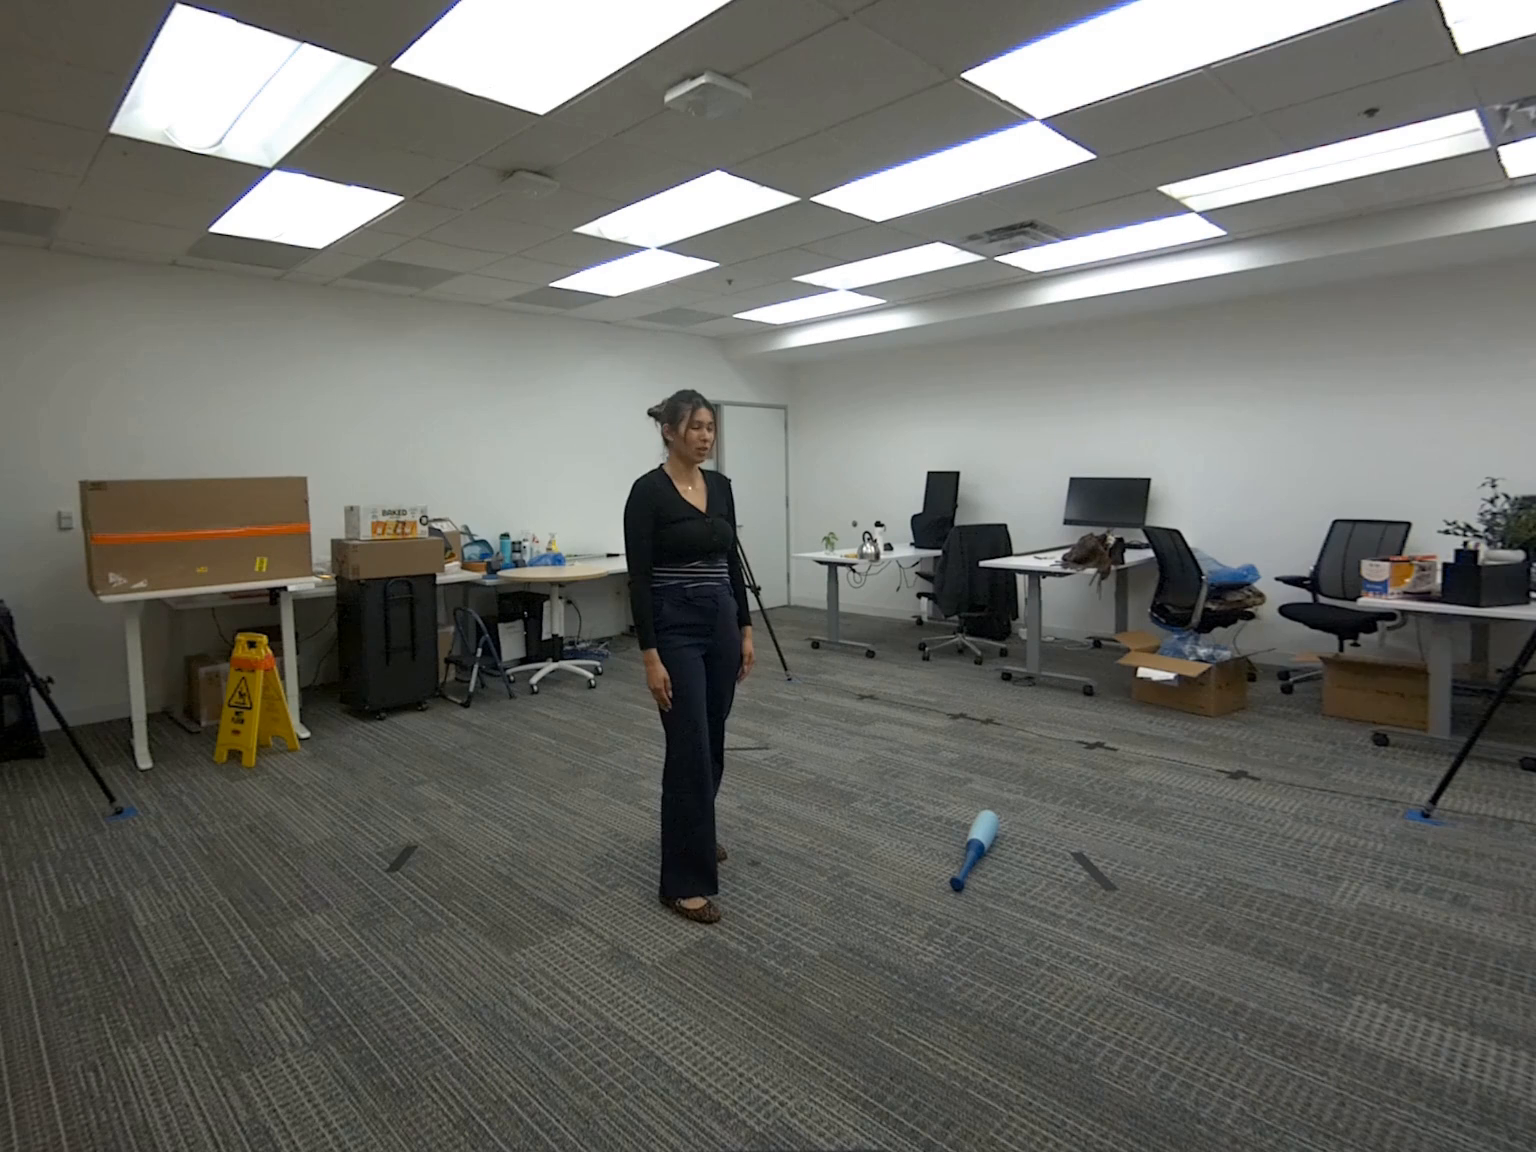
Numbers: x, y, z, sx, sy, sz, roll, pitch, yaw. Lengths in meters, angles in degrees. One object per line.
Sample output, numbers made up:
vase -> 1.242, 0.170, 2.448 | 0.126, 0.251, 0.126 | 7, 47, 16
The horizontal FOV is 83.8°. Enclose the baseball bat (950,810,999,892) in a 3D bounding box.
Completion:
baseball bat -> 0.750, 0.993, 3.095 | 0.091, 0.088, 0.534 | 1, 9, 25
